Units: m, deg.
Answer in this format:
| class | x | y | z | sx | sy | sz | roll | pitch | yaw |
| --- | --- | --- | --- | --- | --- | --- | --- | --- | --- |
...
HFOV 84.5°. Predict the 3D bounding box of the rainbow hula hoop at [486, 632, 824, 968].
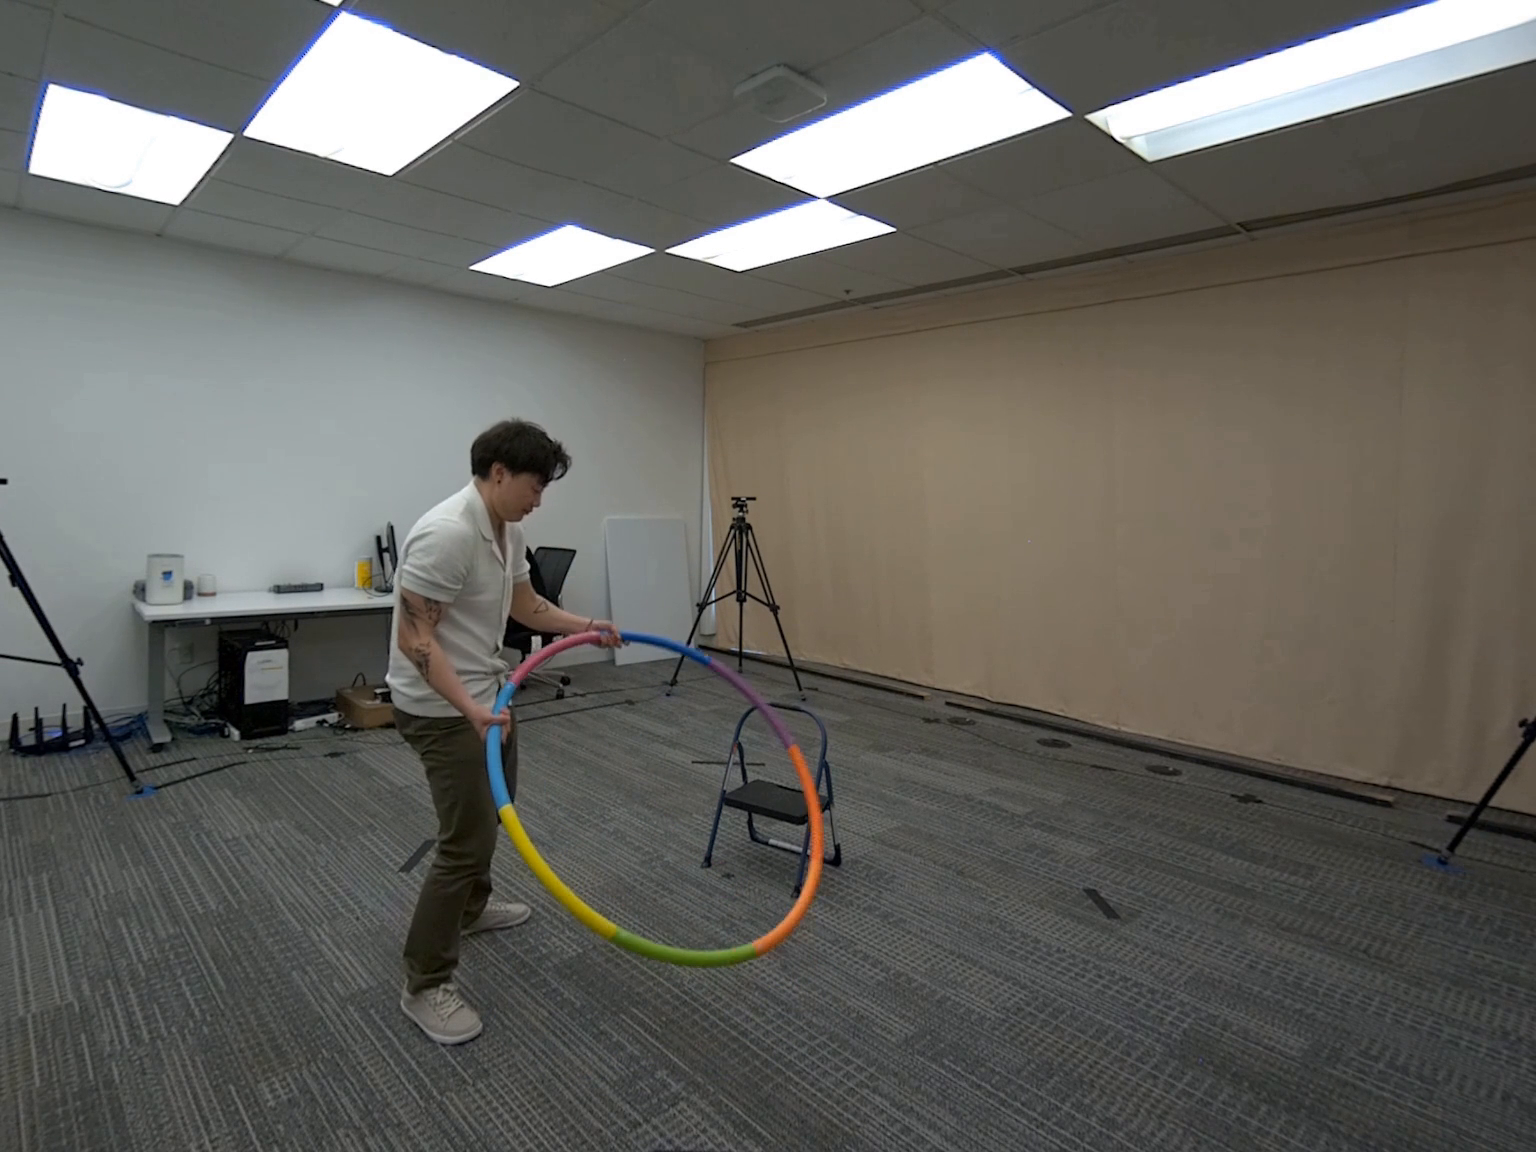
| class | x | y | z | sx | sy | sz | roll | pitch | yaw |
| --- | --- | --- | --- | --- | --- | --- | --- | --- | --- |
| rainbow hula hoop | -0.272 | 0.527 | 2.241 | 0.961 | 0.035 | 1.000 | 24 | 34 | -19 |
